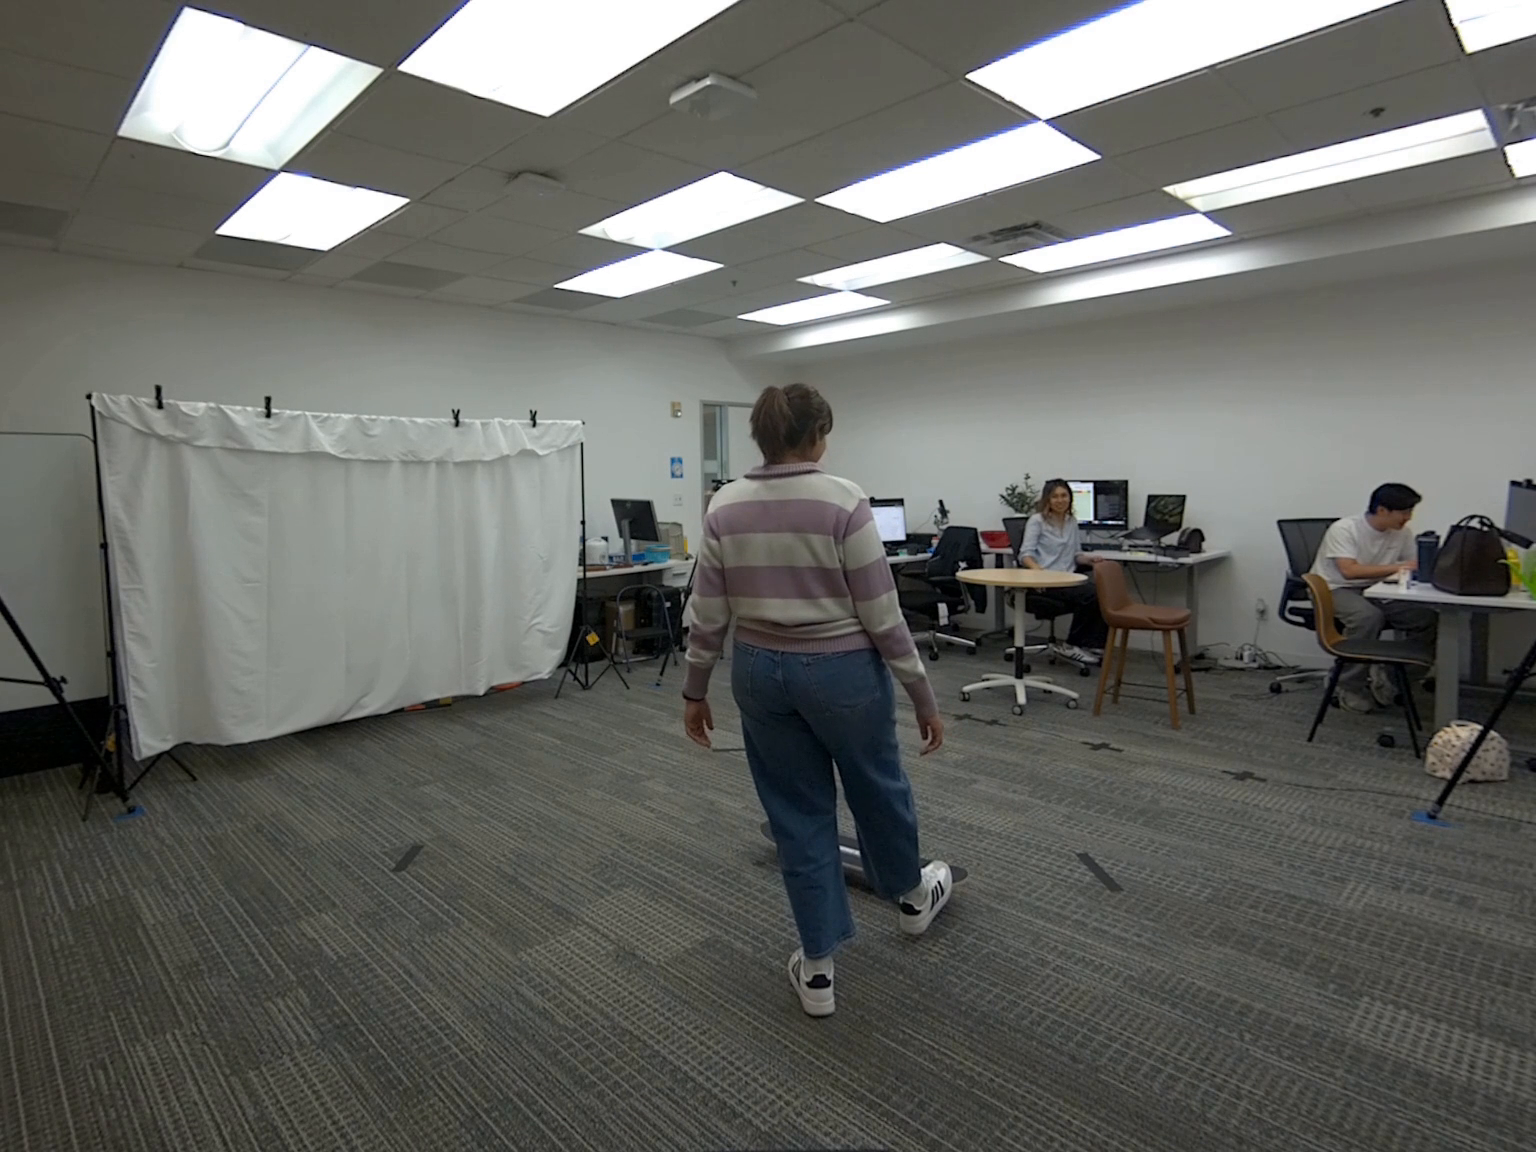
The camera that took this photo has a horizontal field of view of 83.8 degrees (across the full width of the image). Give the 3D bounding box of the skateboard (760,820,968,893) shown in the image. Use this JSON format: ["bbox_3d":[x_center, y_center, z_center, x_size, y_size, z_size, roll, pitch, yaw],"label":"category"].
[{"bbox_3d":[0.315,0.999,2.979,0.808,0.110,0.189,4,8,36],"label":"skateboard"}]
